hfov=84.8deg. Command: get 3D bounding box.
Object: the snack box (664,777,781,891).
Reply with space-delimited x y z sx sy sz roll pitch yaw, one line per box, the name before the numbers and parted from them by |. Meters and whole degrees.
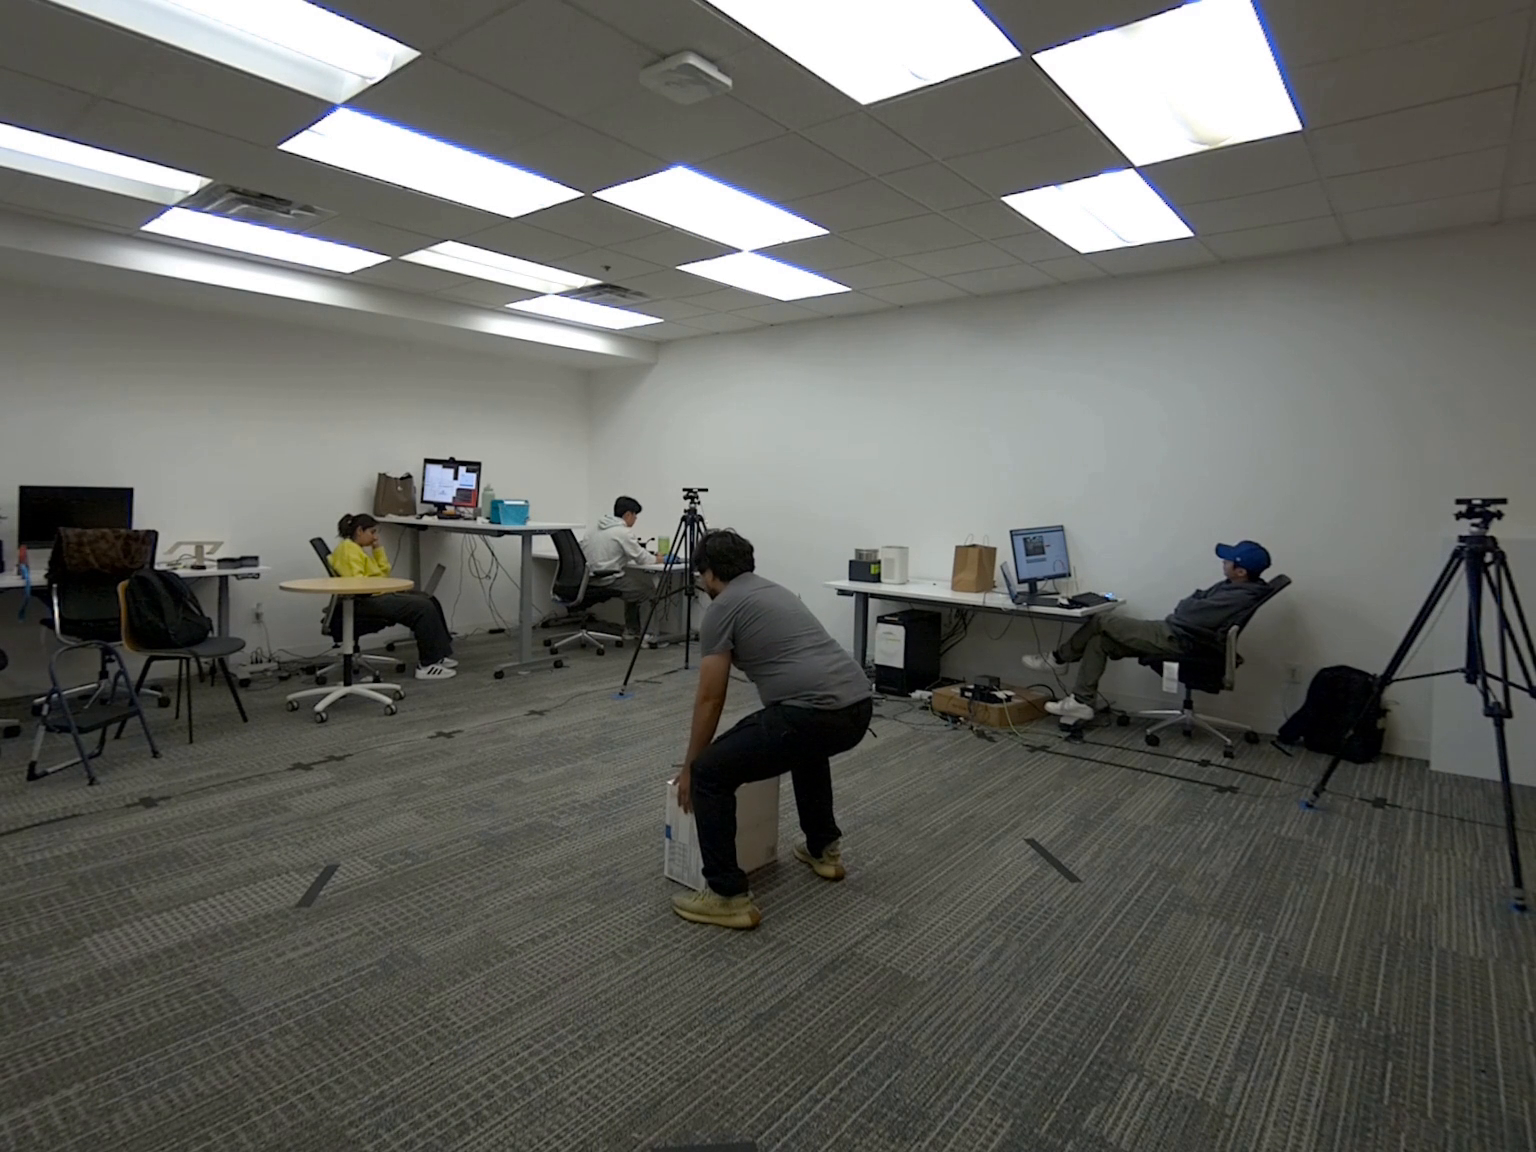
snack box | -0.172 0.890 3.109 0.213 0.339 0.393 5 6 40
